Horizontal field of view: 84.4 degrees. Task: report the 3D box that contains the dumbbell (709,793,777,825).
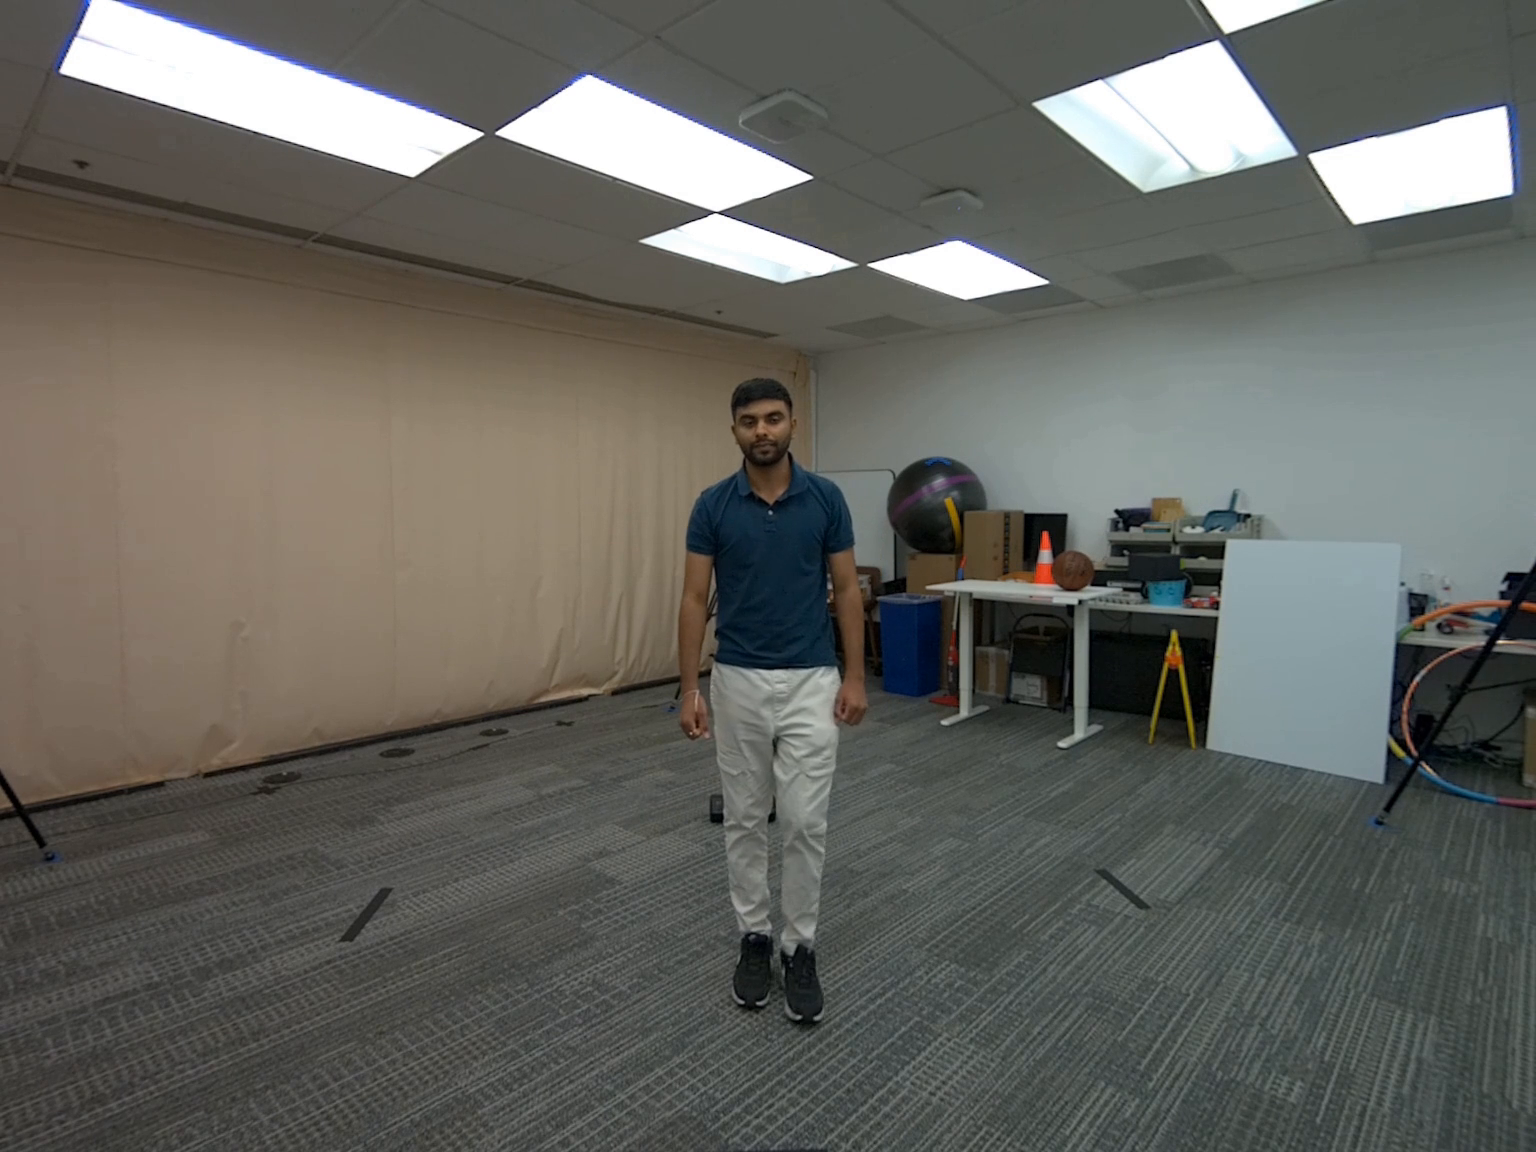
[{"bbox_3d":[-0.113,1.034,3.723,0.293,0.121,0.111,0,35,-1],"label":"dumbbell"}]
